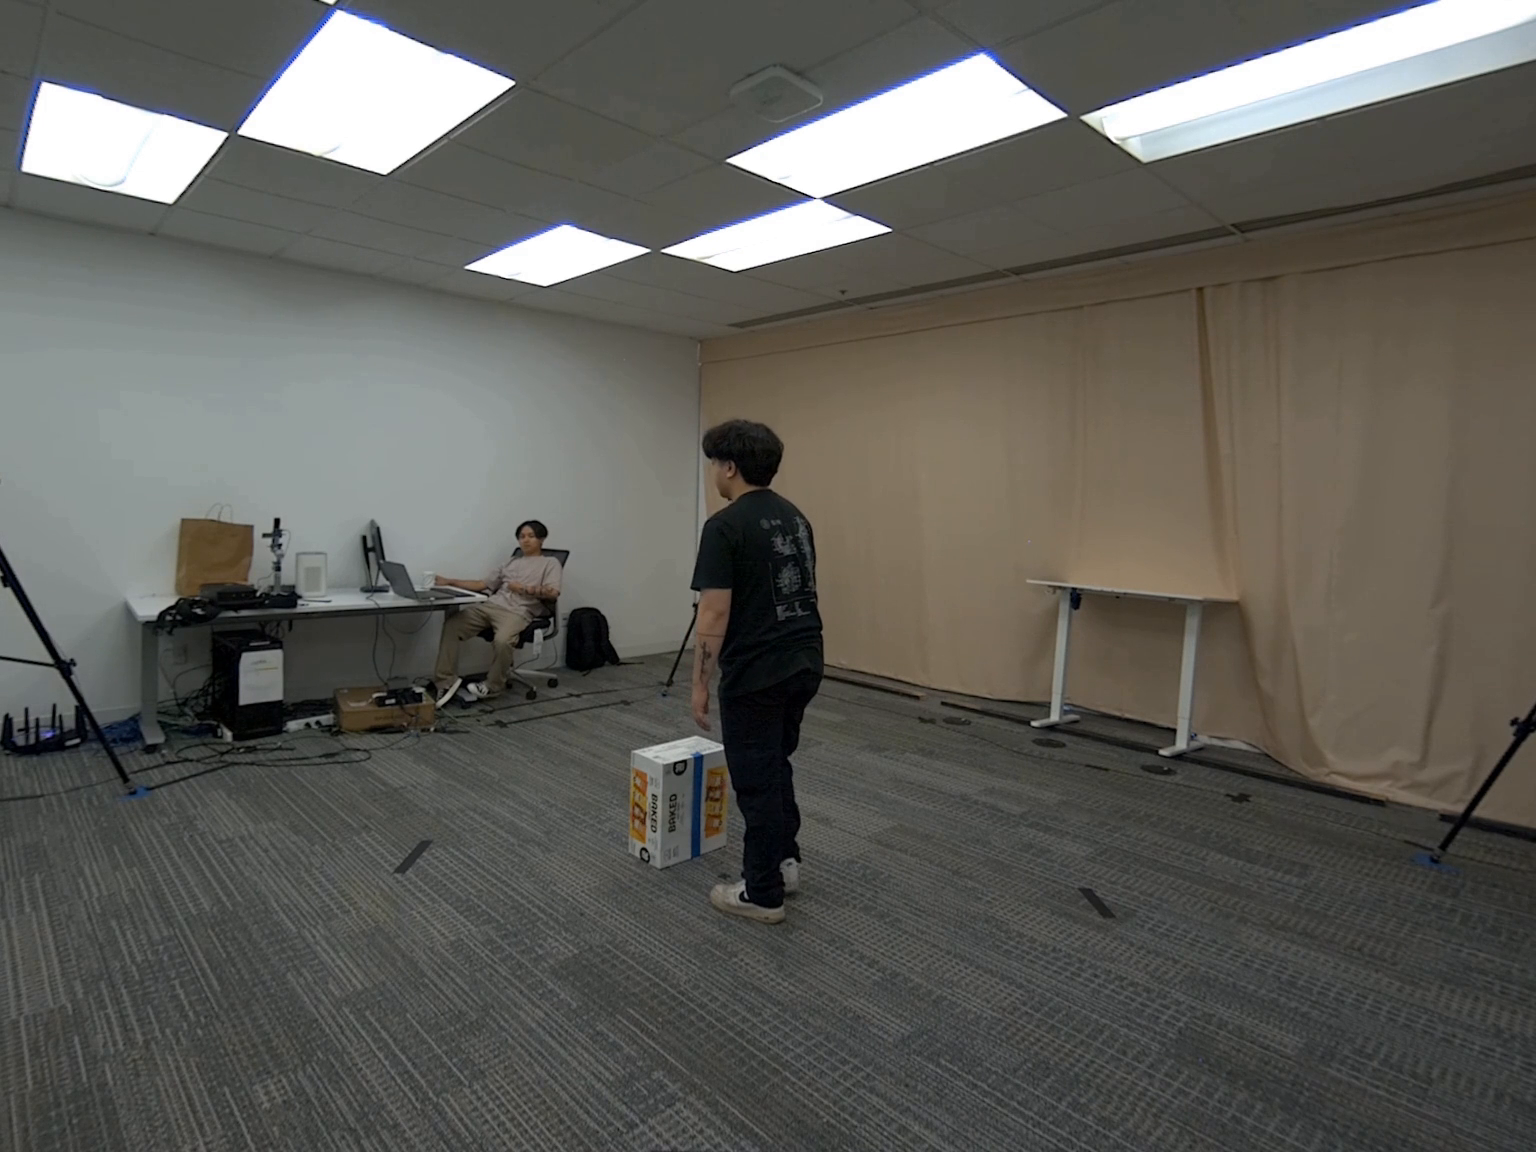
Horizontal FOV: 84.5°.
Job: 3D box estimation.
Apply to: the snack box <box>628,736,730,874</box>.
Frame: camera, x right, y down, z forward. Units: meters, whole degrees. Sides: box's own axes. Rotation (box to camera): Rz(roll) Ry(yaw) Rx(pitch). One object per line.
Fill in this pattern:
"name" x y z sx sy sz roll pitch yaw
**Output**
"snack box" -0.347 0.880 3.315 0.332 0.404 0.211 -3 5 -45
